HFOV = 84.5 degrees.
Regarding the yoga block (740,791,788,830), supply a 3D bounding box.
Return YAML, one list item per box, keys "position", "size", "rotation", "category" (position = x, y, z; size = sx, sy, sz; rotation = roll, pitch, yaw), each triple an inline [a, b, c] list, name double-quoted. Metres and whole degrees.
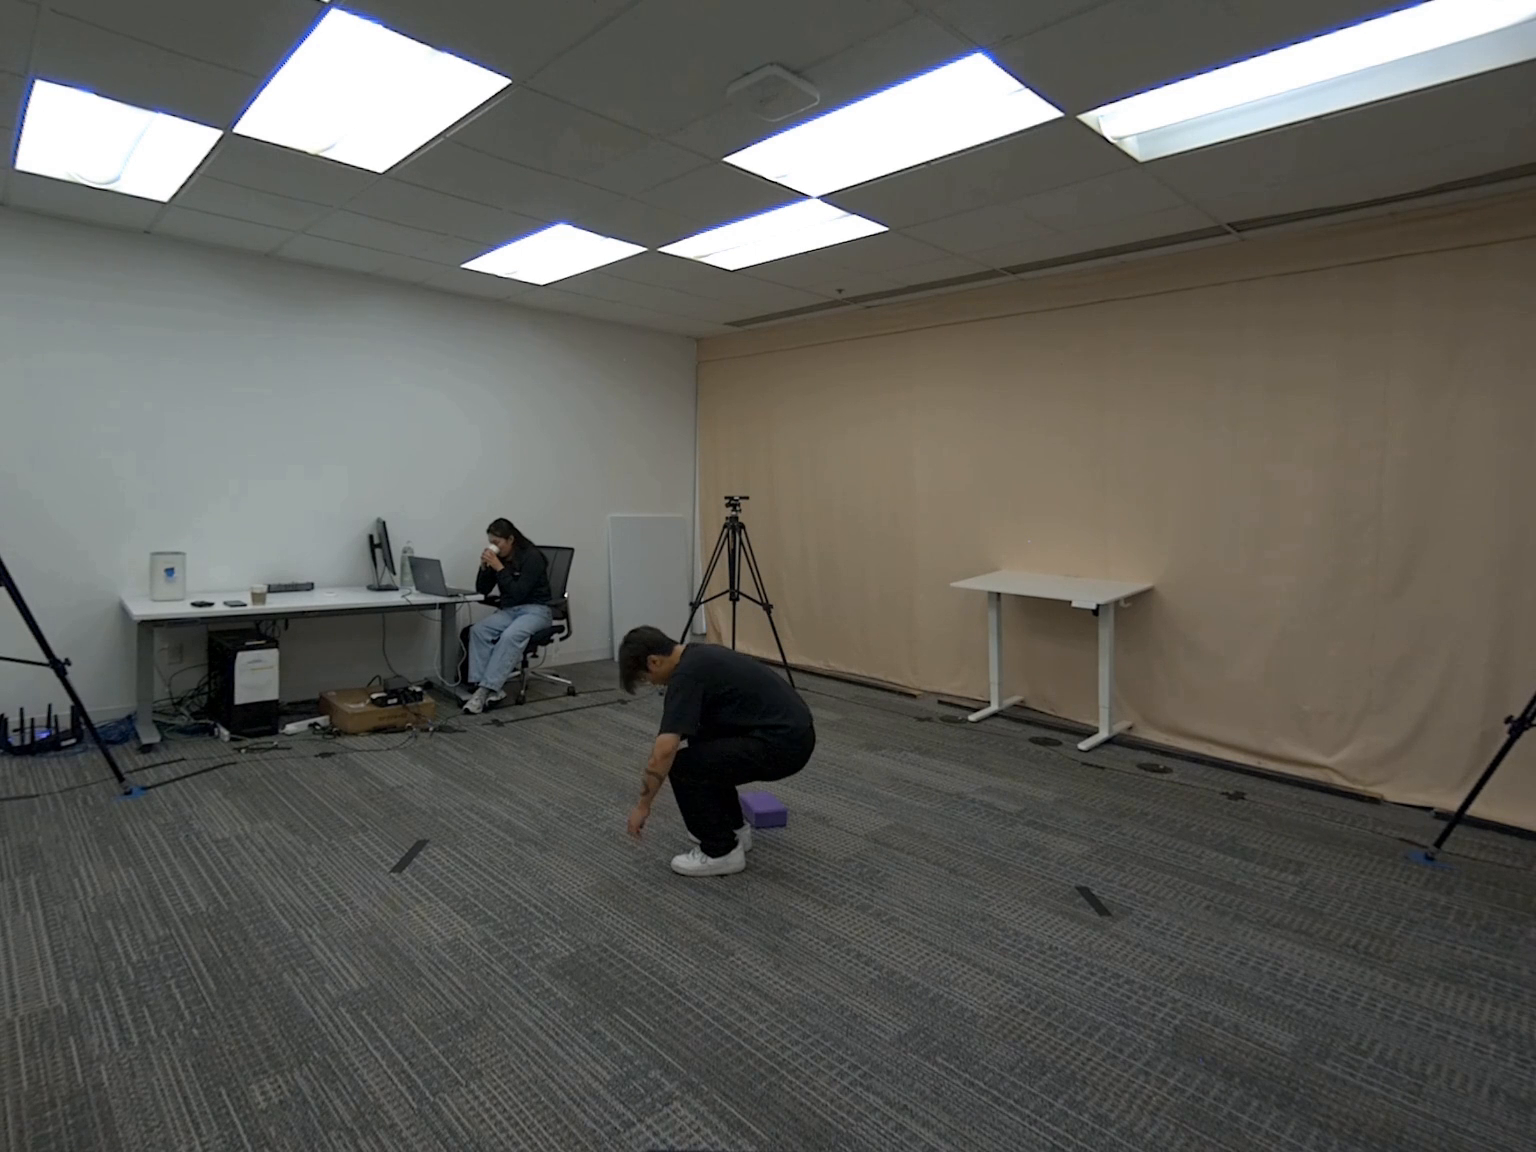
- position: [-0.036, 1.015, 3.671]
  size: [0.147, 0.076, 0.233]
  rotation: [0, 6, -18]
  category: "yoga block"
